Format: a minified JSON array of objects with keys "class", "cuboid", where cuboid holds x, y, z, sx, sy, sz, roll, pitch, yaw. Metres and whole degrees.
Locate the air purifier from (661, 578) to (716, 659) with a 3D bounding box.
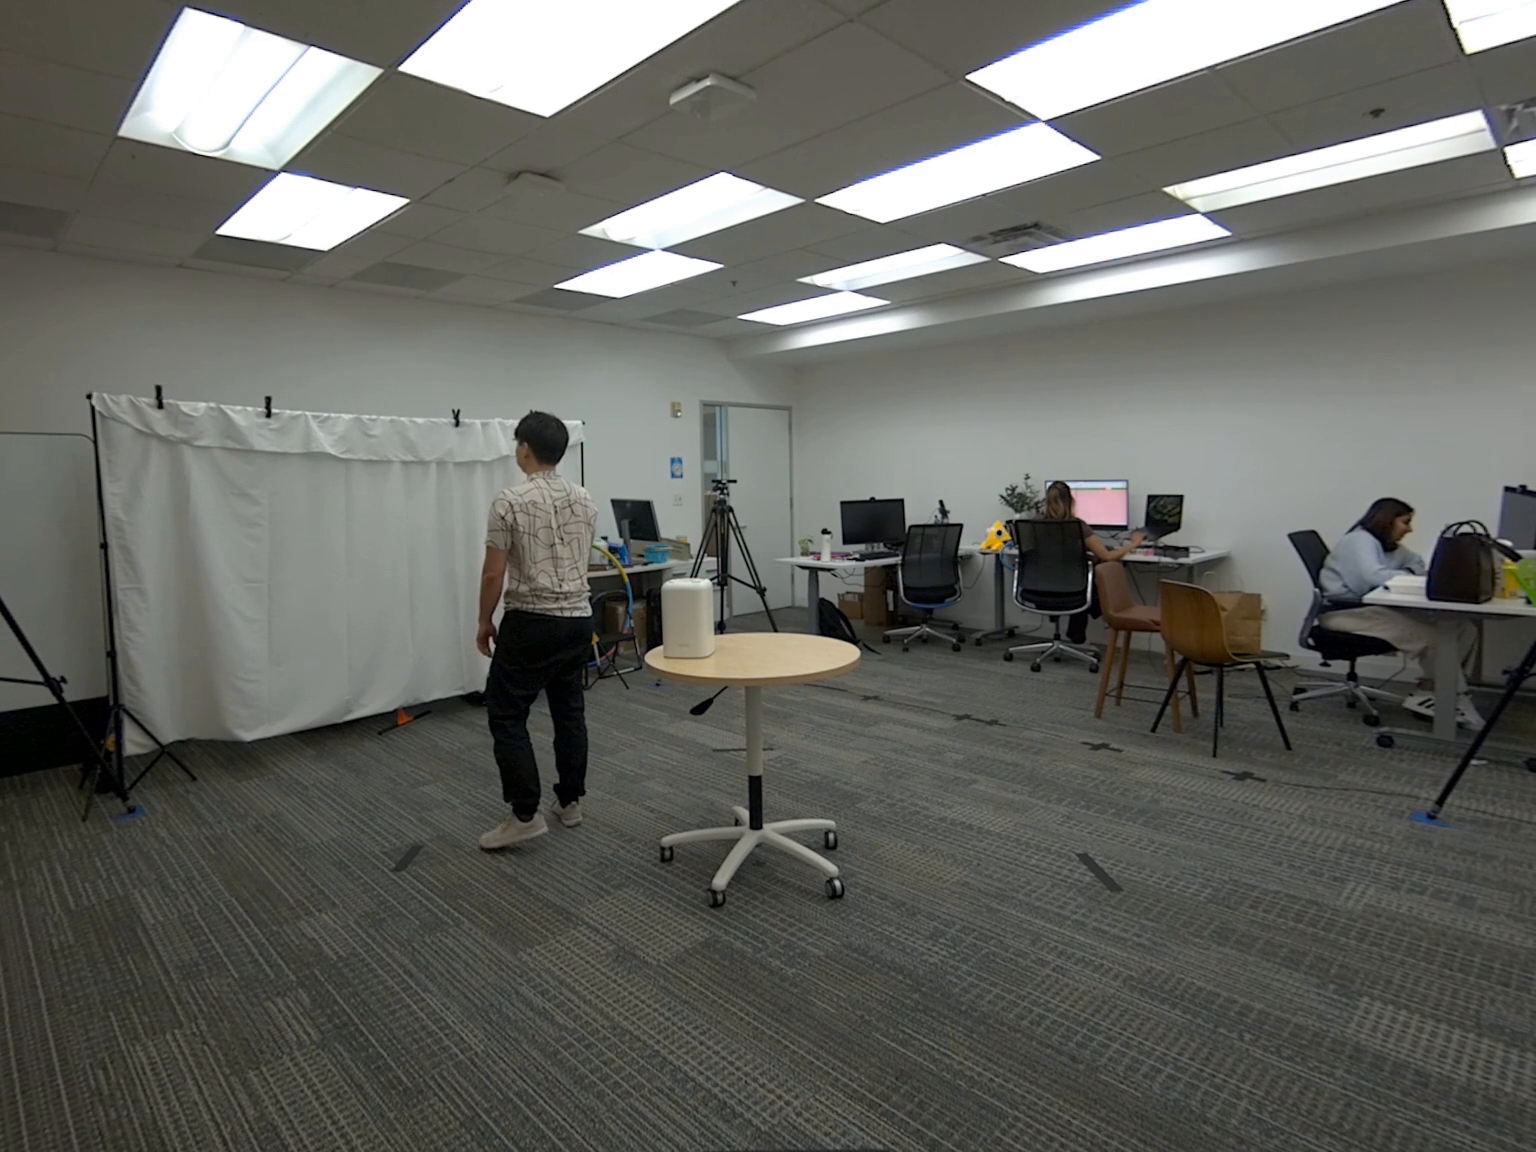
[{"class":"air purifier","cuboid":[-0.285,0.146,3.058,0.173,0.264,0.170,-2,5,13]}]
